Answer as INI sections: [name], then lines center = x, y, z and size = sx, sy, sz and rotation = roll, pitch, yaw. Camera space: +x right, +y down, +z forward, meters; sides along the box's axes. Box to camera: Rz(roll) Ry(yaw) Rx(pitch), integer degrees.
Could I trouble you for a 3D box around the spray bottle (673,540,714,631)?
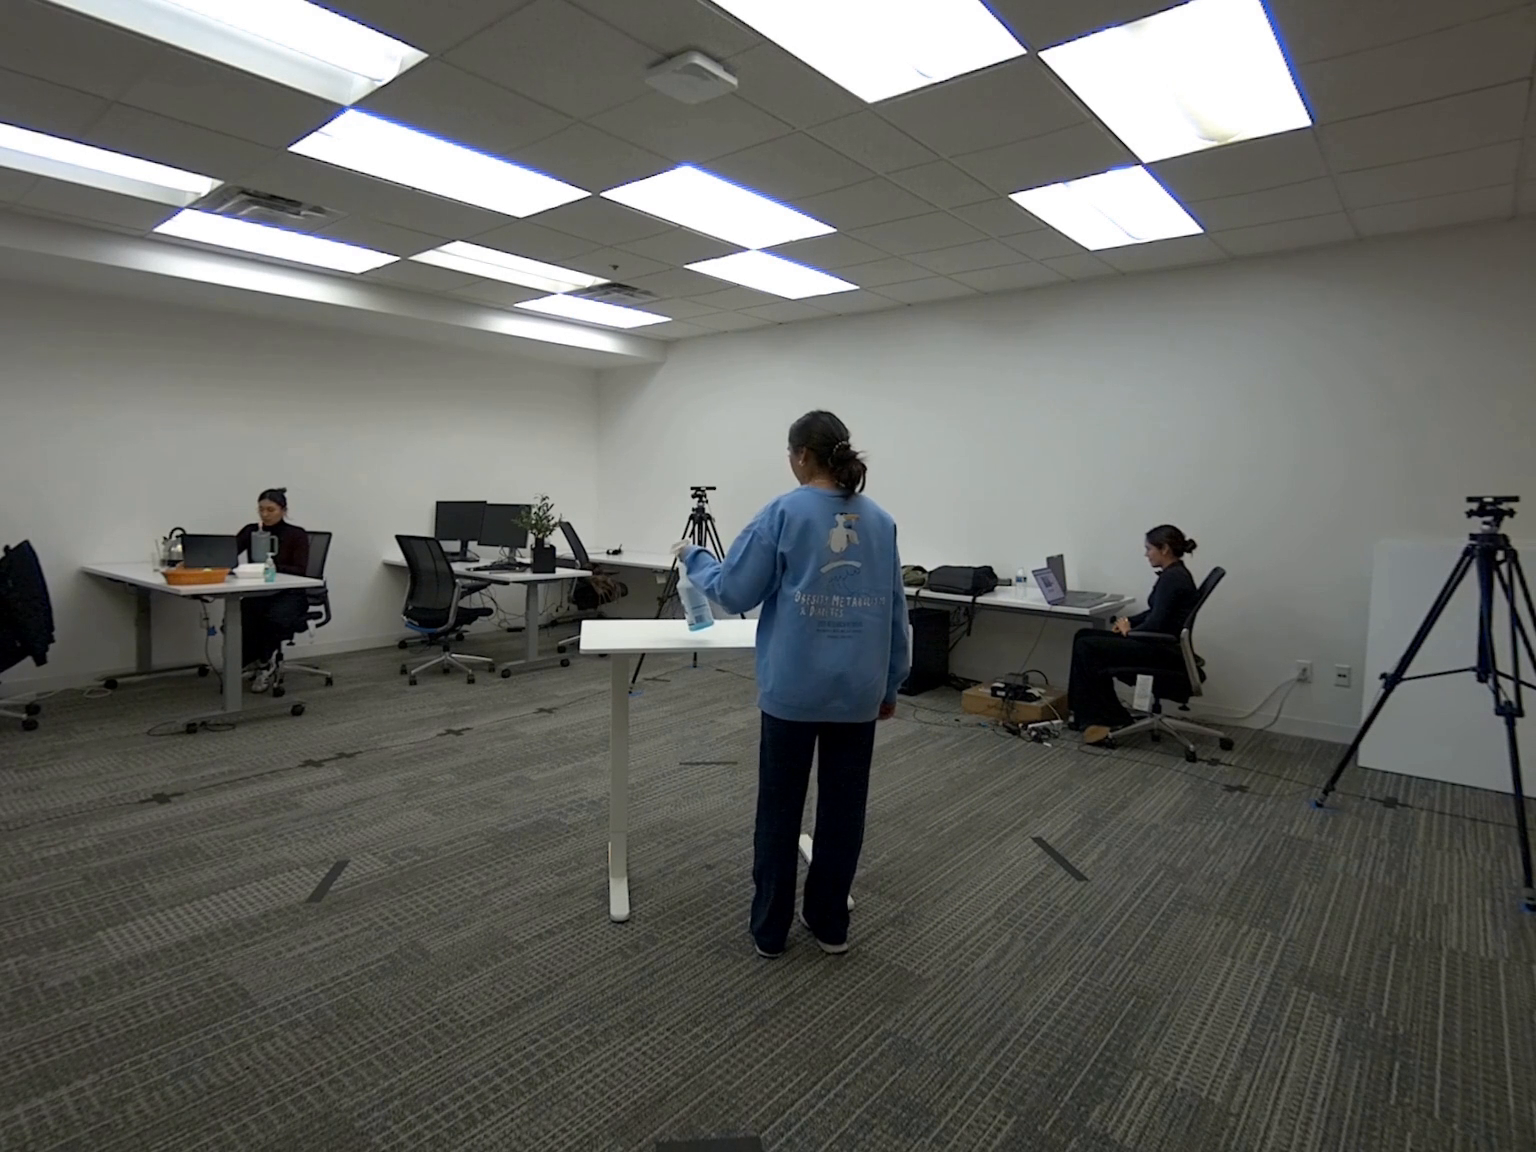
[spray bottle]
center = -0.268, 0.029, 2.790
size = 0.085, 0.297, 0.092
rotation = -15, 0, -28
